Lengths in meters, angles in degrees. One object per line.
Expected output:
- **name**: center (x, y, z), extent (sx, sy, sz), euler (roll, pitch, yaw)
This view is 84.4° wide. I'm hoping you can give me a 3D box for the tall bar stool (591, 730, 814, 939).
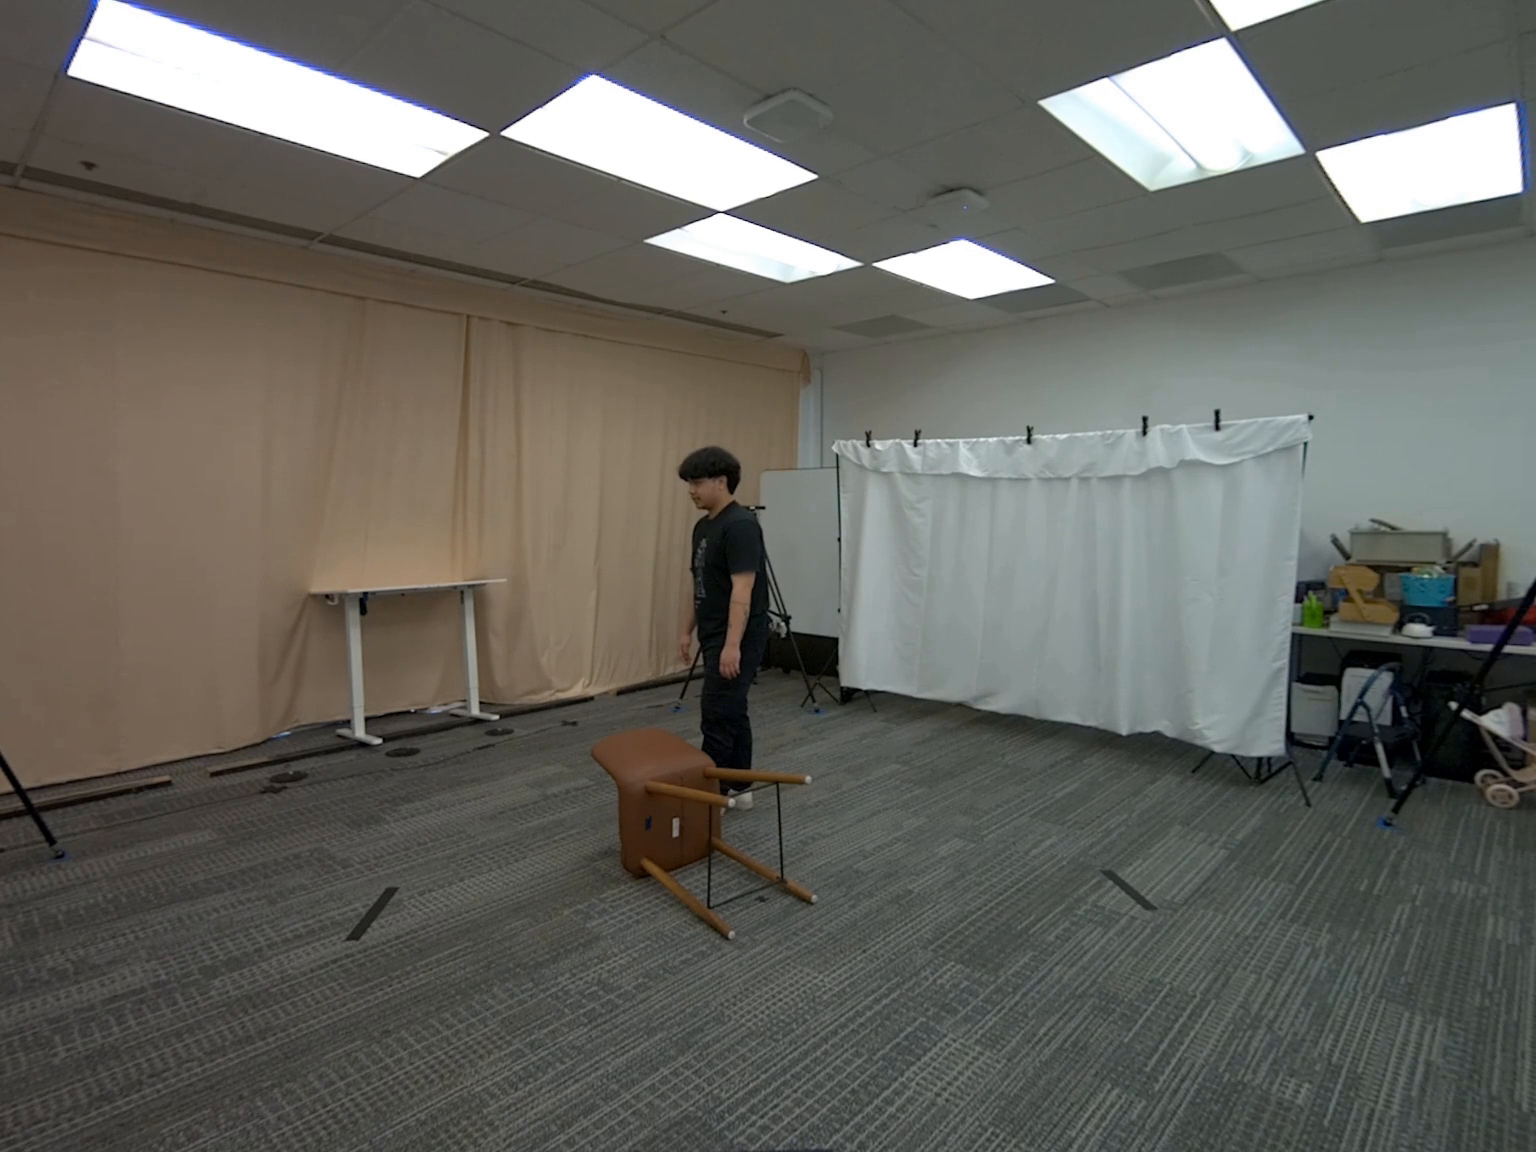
- **tall bar stool**: center (-0.277, 0.902, 3.152), extent (0.443, 0.466, 0.920), euler (-5, 7, -41)
